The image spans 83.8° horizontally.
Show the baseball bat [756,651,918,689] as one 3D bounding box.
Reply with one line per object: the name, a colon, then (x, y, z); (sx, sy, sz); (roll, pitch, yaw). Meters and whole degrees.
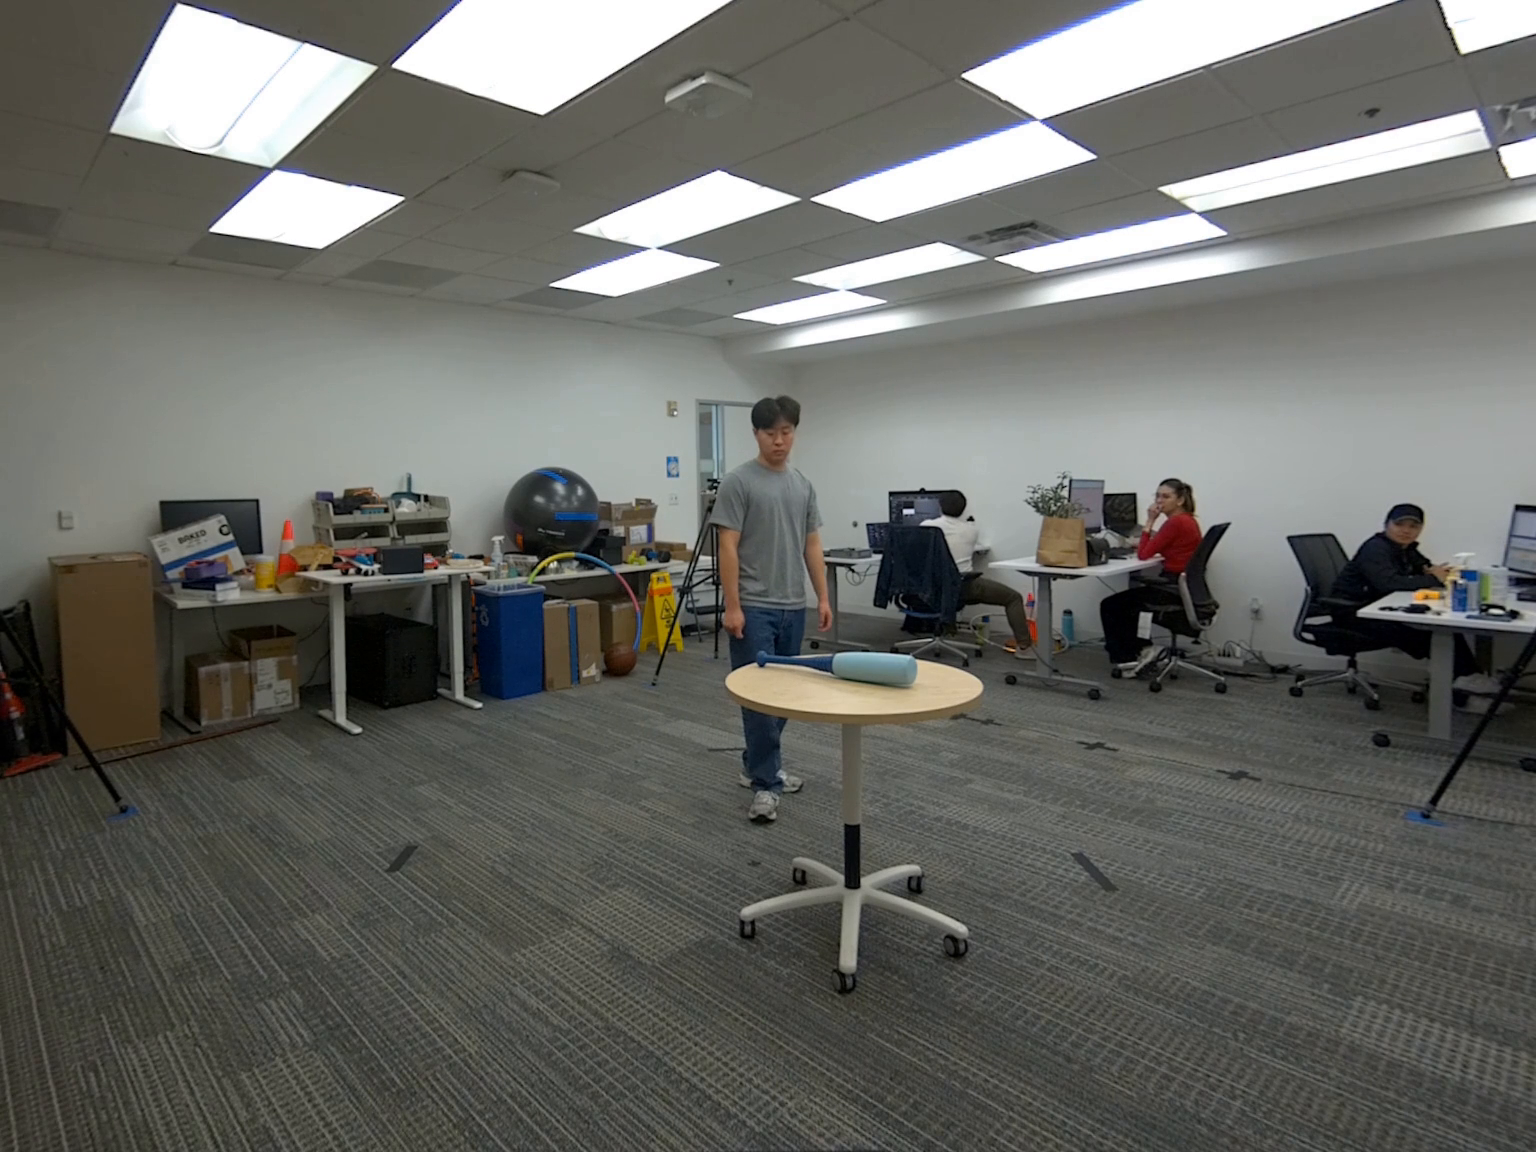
baseball bat: (0.197, 0.280, 2.636); (0.558, 0.089, 0.087); (0, 4, 35)
